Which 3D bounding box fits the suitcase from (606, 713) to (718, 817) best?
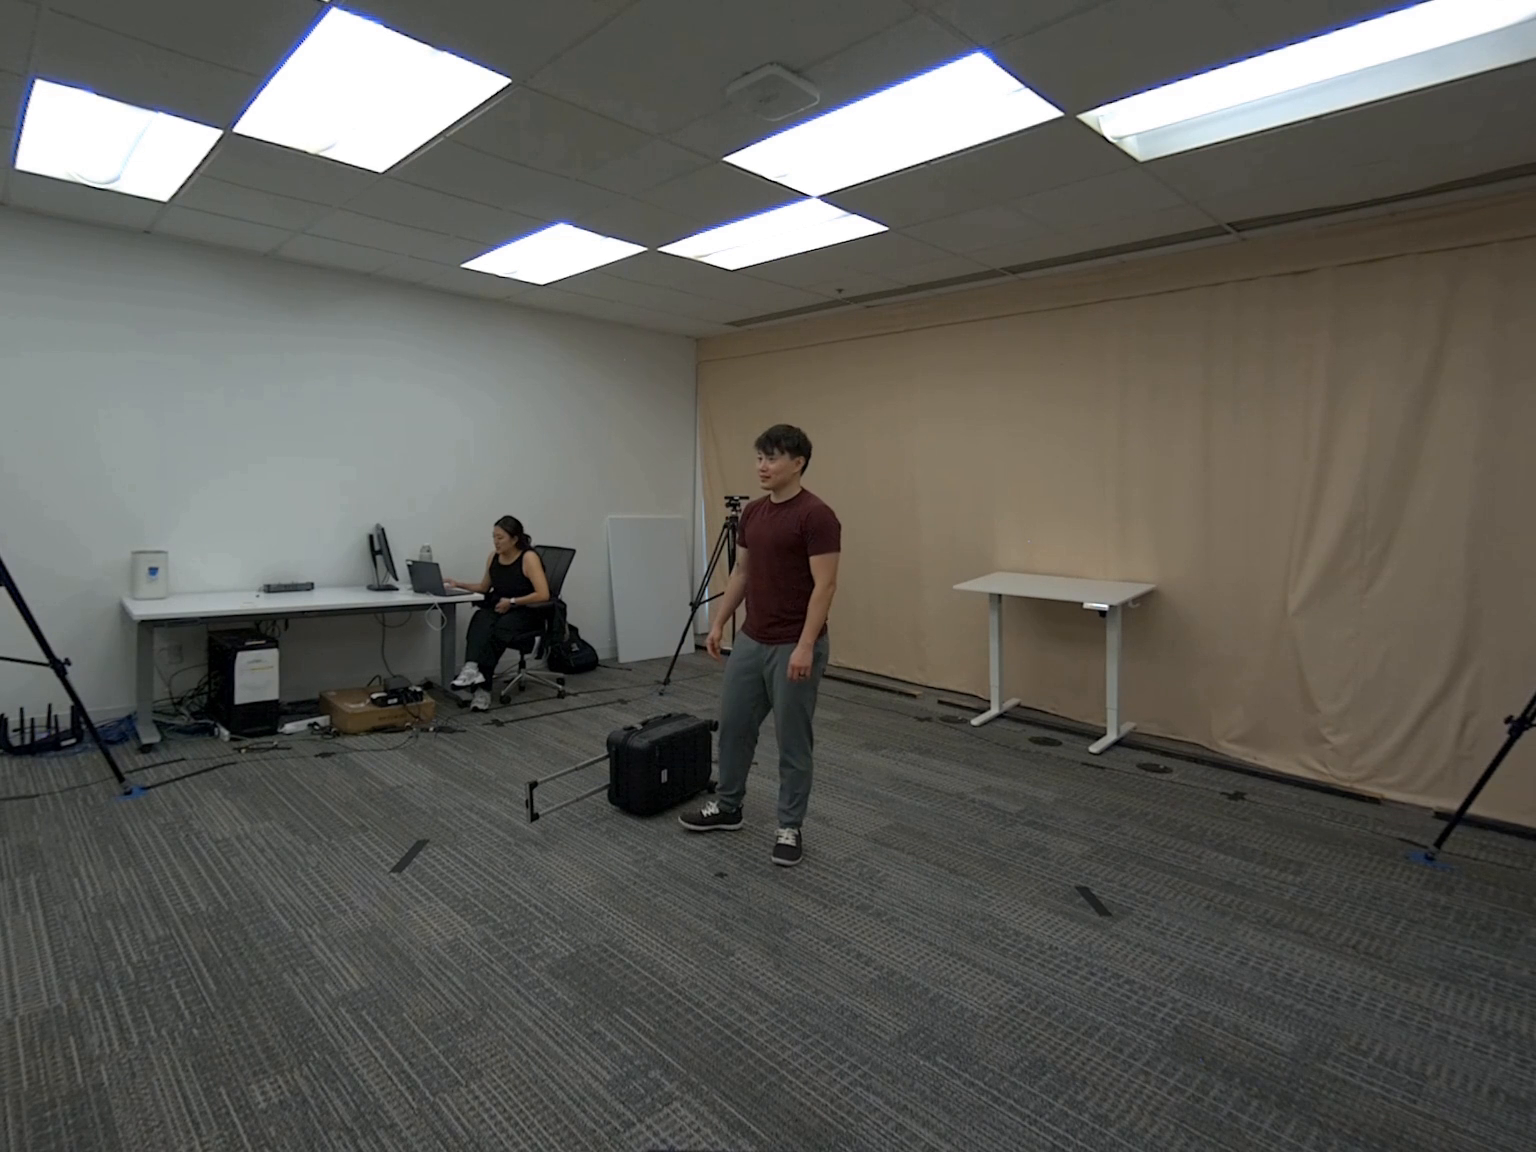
[{"bbox_3d":[-0.601,0.856,3.668,0.263,0.383,0.959,2,5,31],"label":"suitcase"}]
